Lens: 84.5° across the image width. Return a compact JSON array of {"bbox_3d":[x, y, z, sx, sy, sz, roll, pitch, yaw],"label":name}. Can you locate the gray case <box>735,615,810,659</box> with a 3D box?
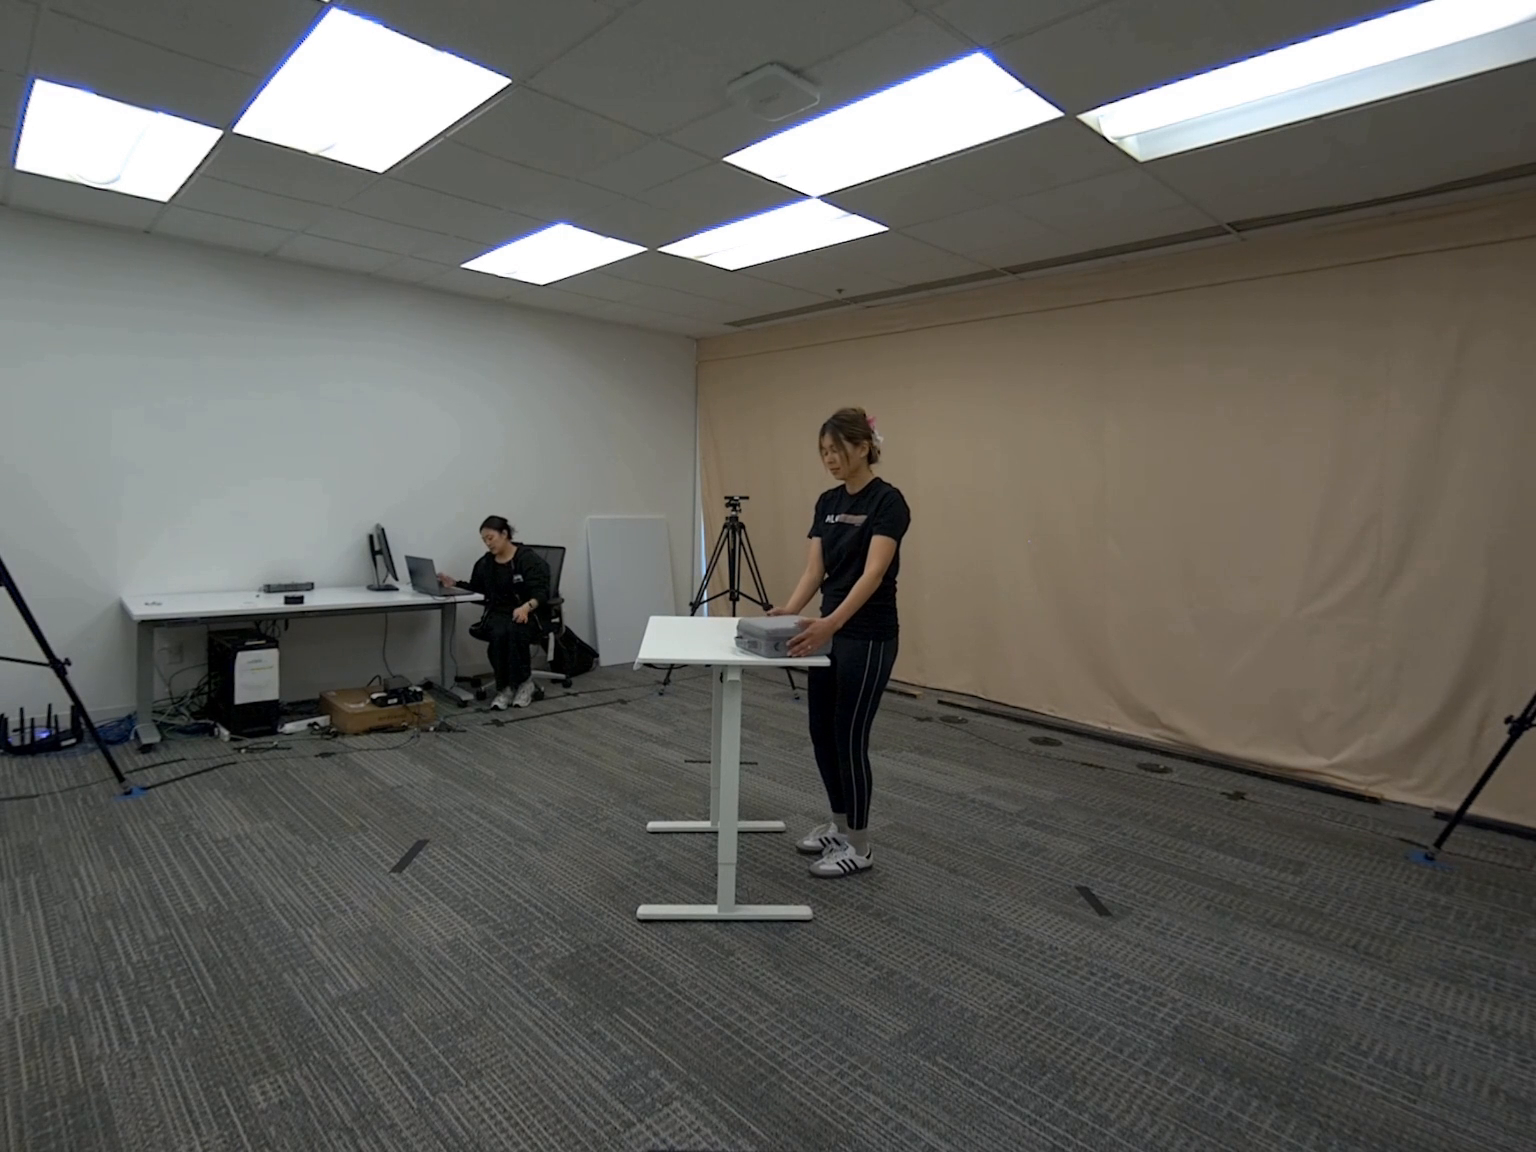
[{"bbox_3d":[0.042,0.203,2.789,0.256,0.104,0.262,-2,6,-23],"label":"gray case"}]
